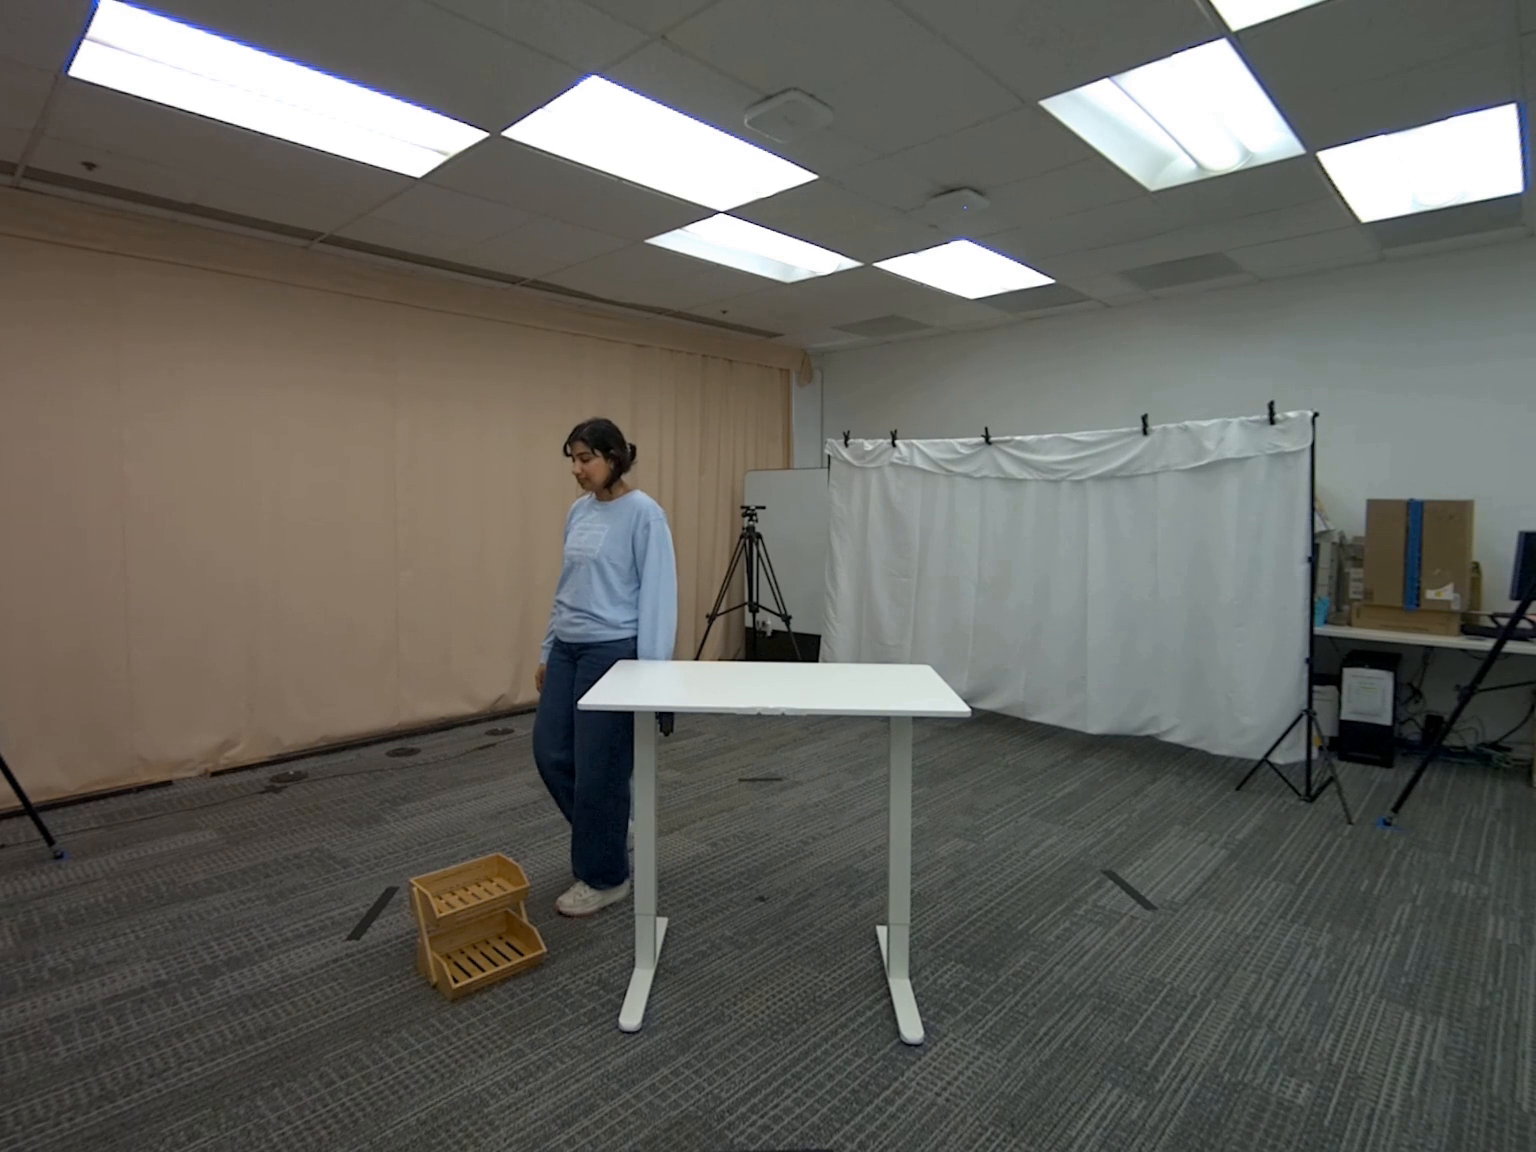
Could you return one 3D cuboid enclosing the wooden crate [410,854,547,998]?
[{"bbox_3d":[-0.876,1.043,2.564,0.314,0.273,0.312,-3,4,-44],"label":"wooden crate"}]
